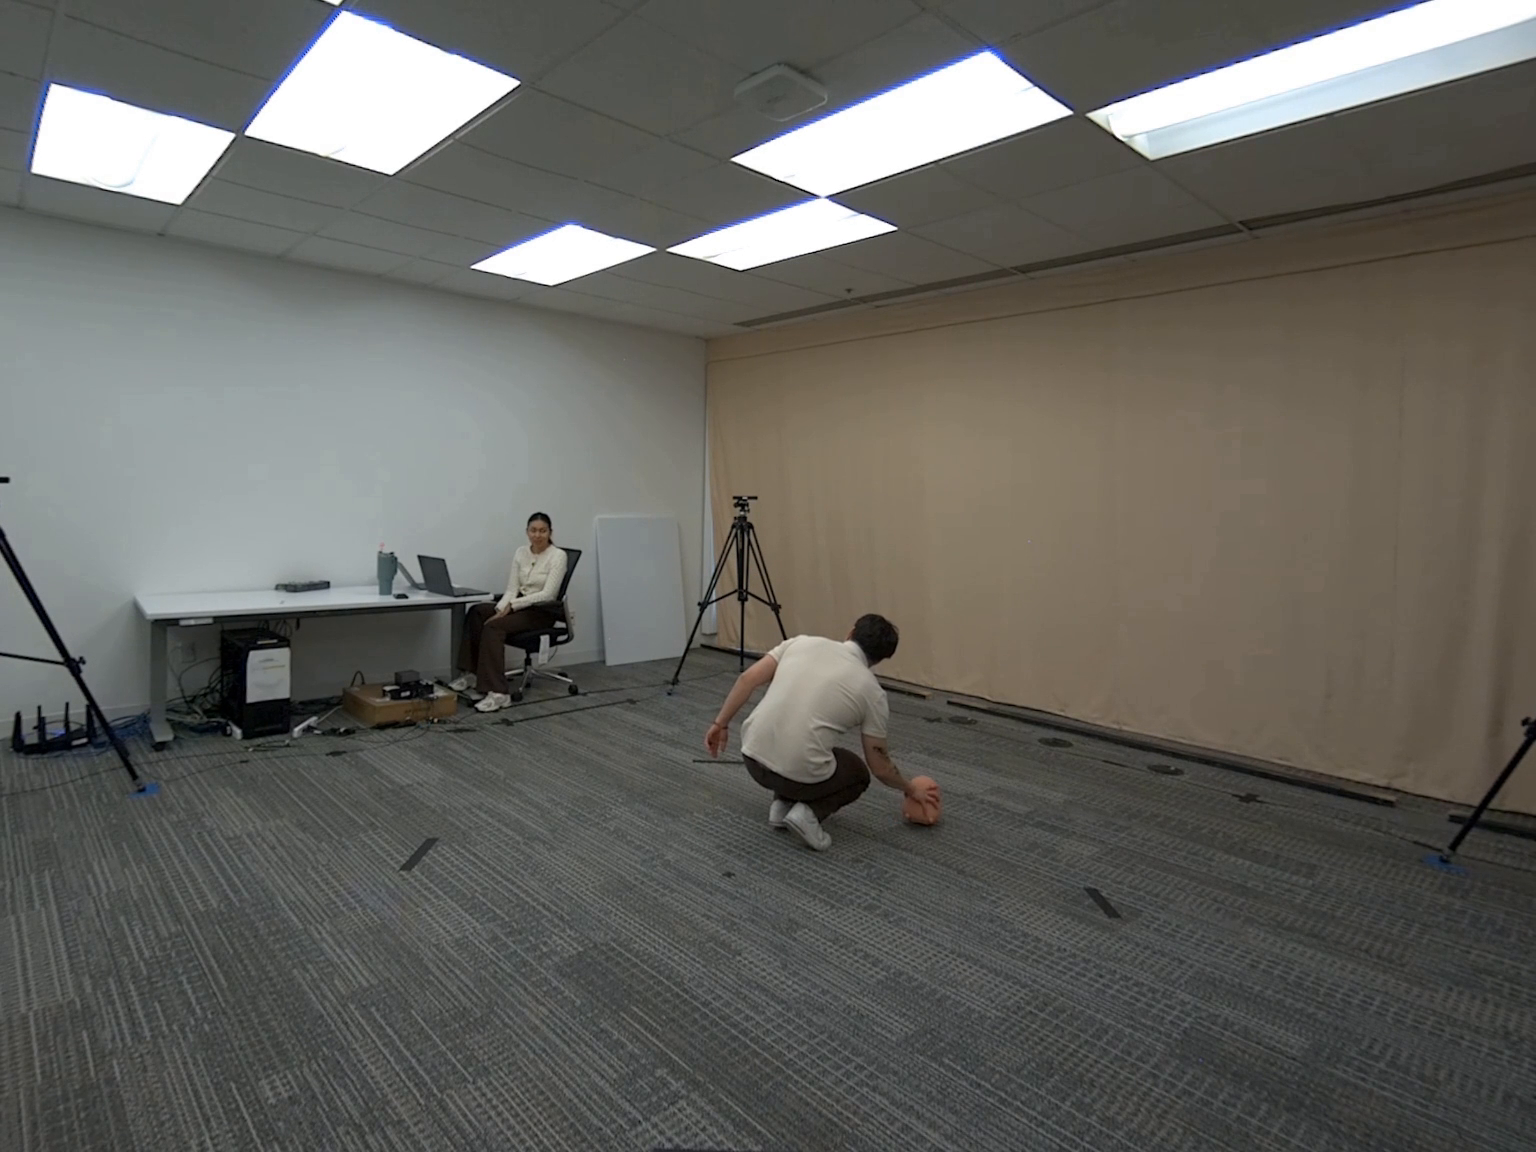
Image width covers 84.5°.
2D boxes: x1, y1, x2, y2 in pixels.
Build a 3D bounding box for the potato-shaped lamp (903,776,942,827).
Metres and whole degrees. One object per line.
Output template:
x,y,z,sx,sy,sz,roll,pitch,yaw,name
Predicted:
0.660,0.973,3.675,0.164,0.200,0.171,16,-18,-6,potato-shaped lamp
